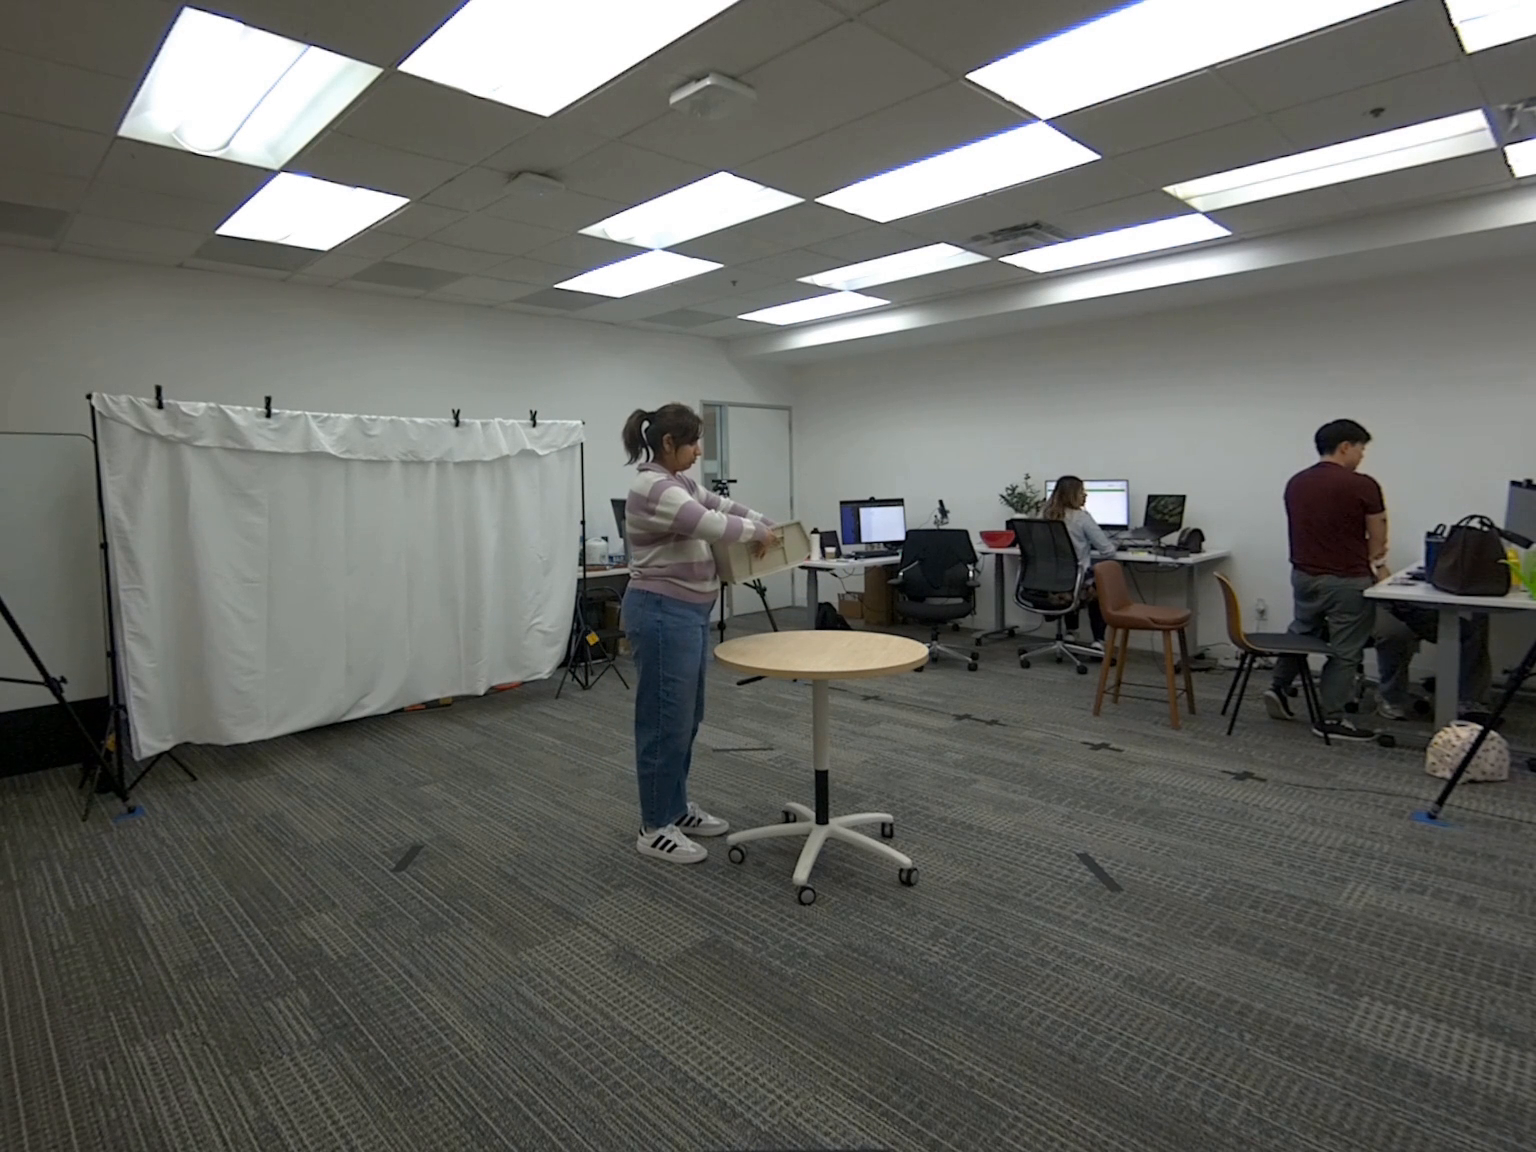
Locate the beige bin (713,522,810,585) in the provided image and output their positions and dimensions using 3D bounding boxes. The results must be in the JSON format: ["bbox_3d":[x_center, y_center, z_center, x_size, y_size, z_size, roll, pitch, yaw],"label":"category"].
[{"bbox_3d":[-0.102,-0.107,3.391,0.370,0.187,0.434,-17,12,-32],"label":"beige bin"}]
